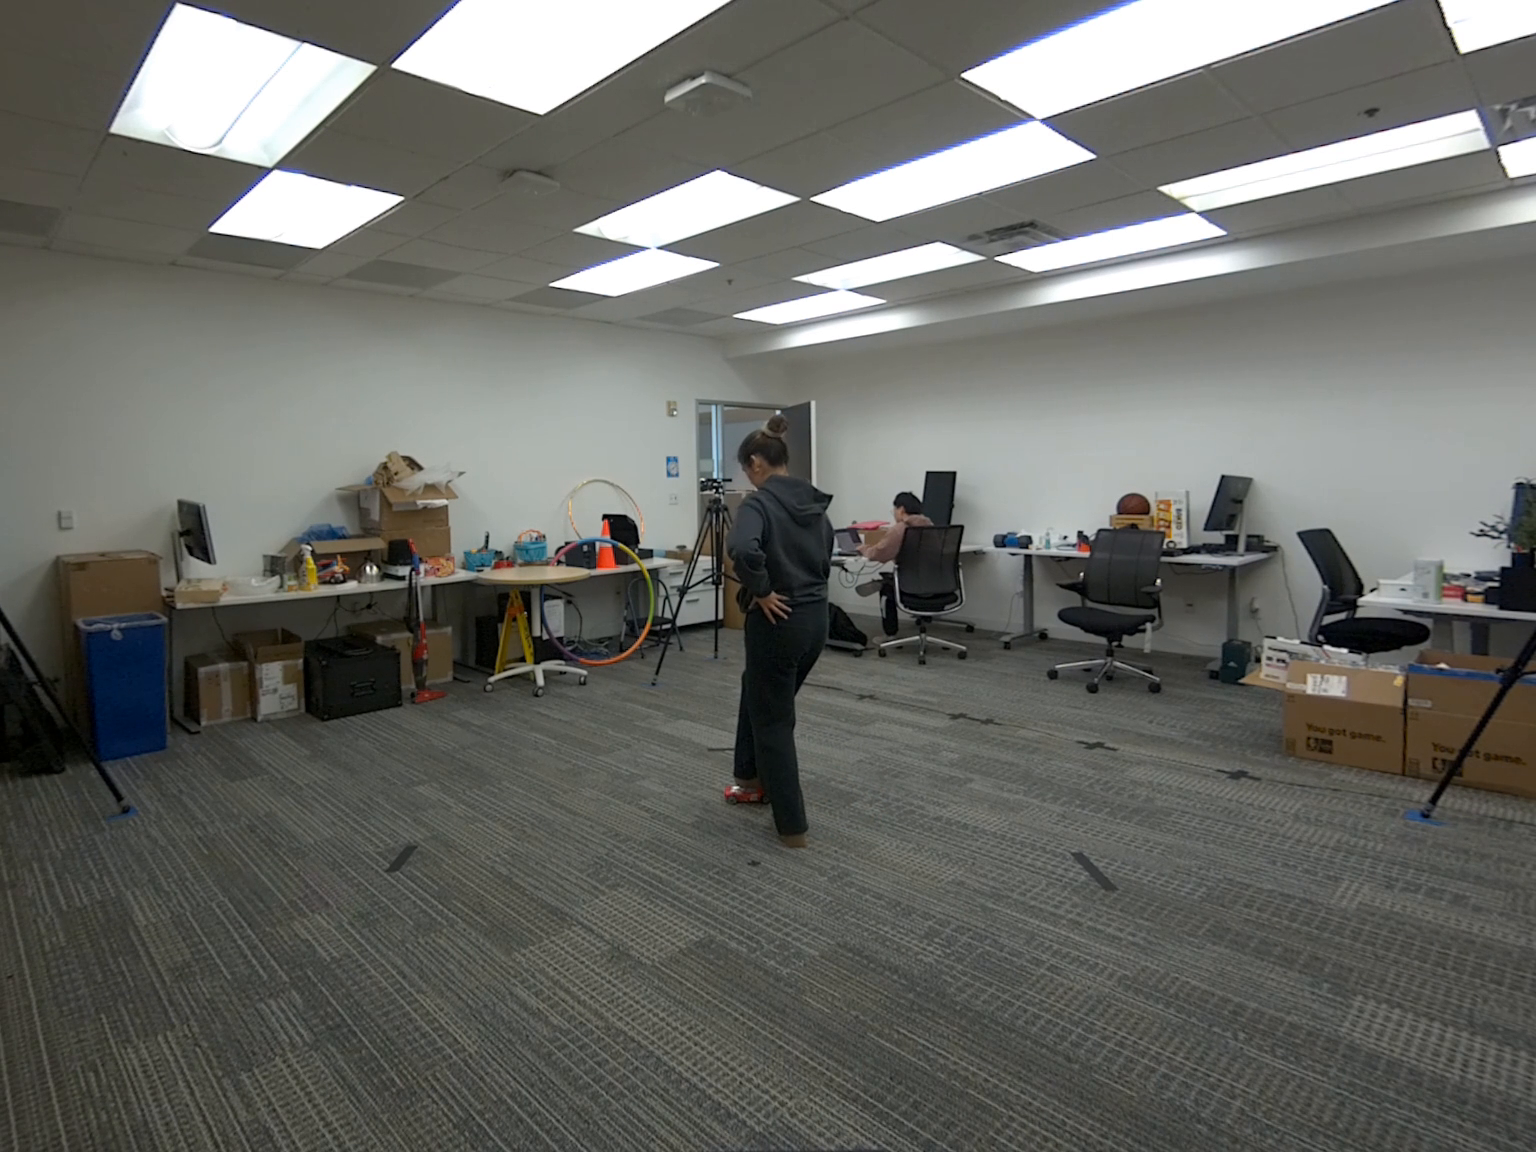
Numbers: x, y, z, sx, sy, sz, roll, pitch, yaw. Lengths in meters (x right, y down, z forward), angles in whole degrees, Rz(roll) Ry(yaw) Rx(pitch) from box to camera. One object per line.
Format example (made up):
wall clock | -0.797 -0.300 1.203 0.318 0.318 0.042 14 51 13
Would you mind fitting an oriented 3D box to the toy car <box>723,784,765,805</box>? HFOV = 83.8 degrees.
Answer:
toy car | -0.055 0.953 3.711 0.254 0.083 0.131 -11 6 0
